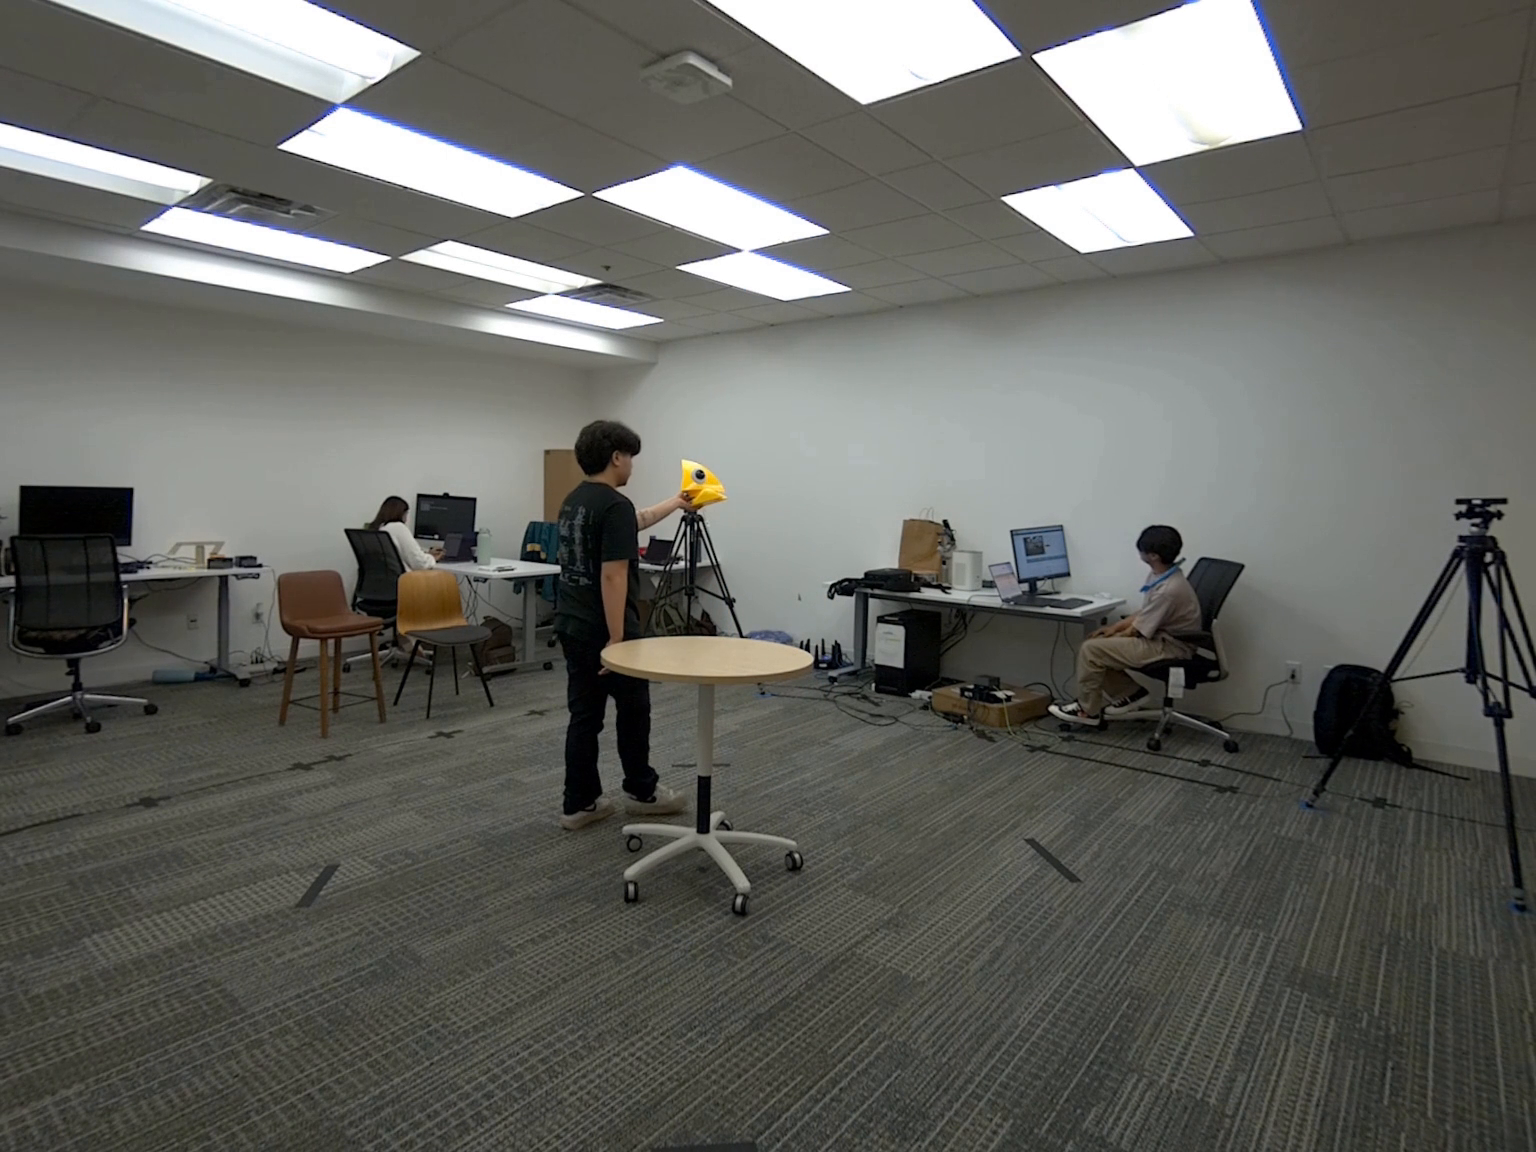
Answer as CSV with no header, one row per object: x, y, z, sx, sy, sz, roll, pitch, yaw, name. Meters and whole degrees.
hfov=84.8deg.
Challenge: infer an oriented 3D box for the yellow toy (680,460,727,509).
-0.326,-0.459,3.996,0.194,0.232,0.203,-16,-2,7,yellow toy
